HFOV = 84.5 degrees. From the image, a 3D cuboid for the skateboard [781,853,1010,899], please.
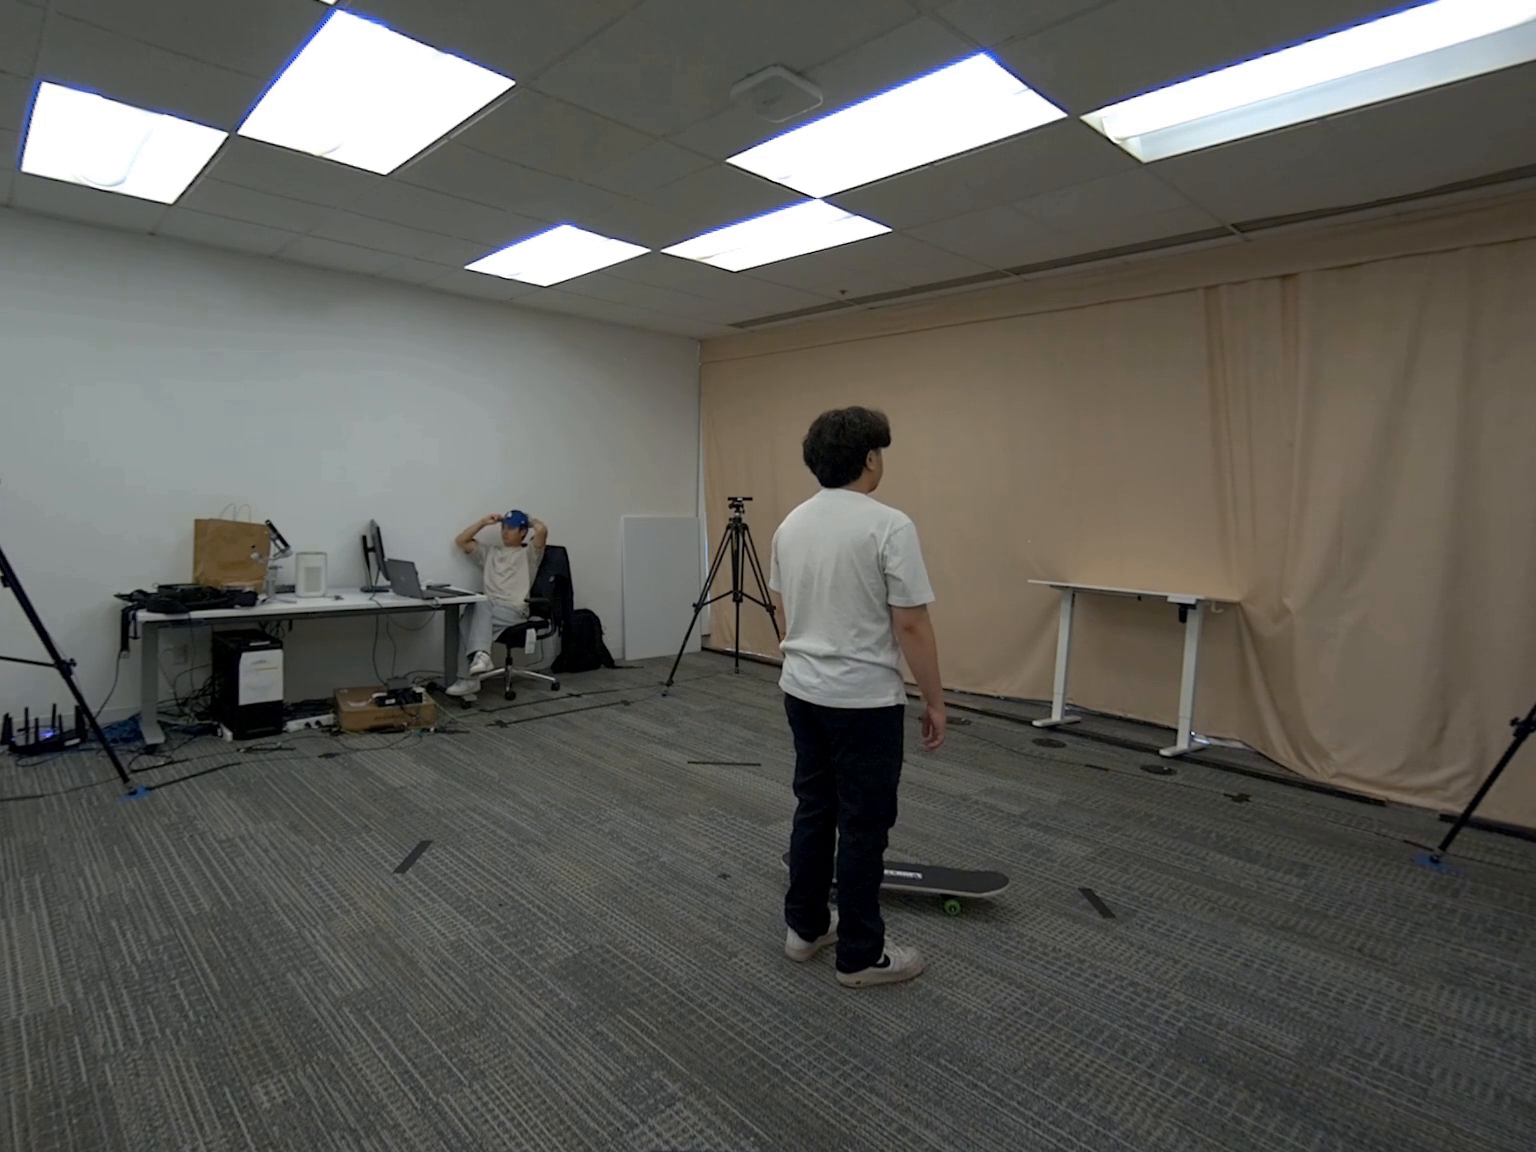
[{"bbox_3d":[0.430,1.078,2.963,0.792,0.110,0.192,2,4,10],"label":"skateboard"}]
